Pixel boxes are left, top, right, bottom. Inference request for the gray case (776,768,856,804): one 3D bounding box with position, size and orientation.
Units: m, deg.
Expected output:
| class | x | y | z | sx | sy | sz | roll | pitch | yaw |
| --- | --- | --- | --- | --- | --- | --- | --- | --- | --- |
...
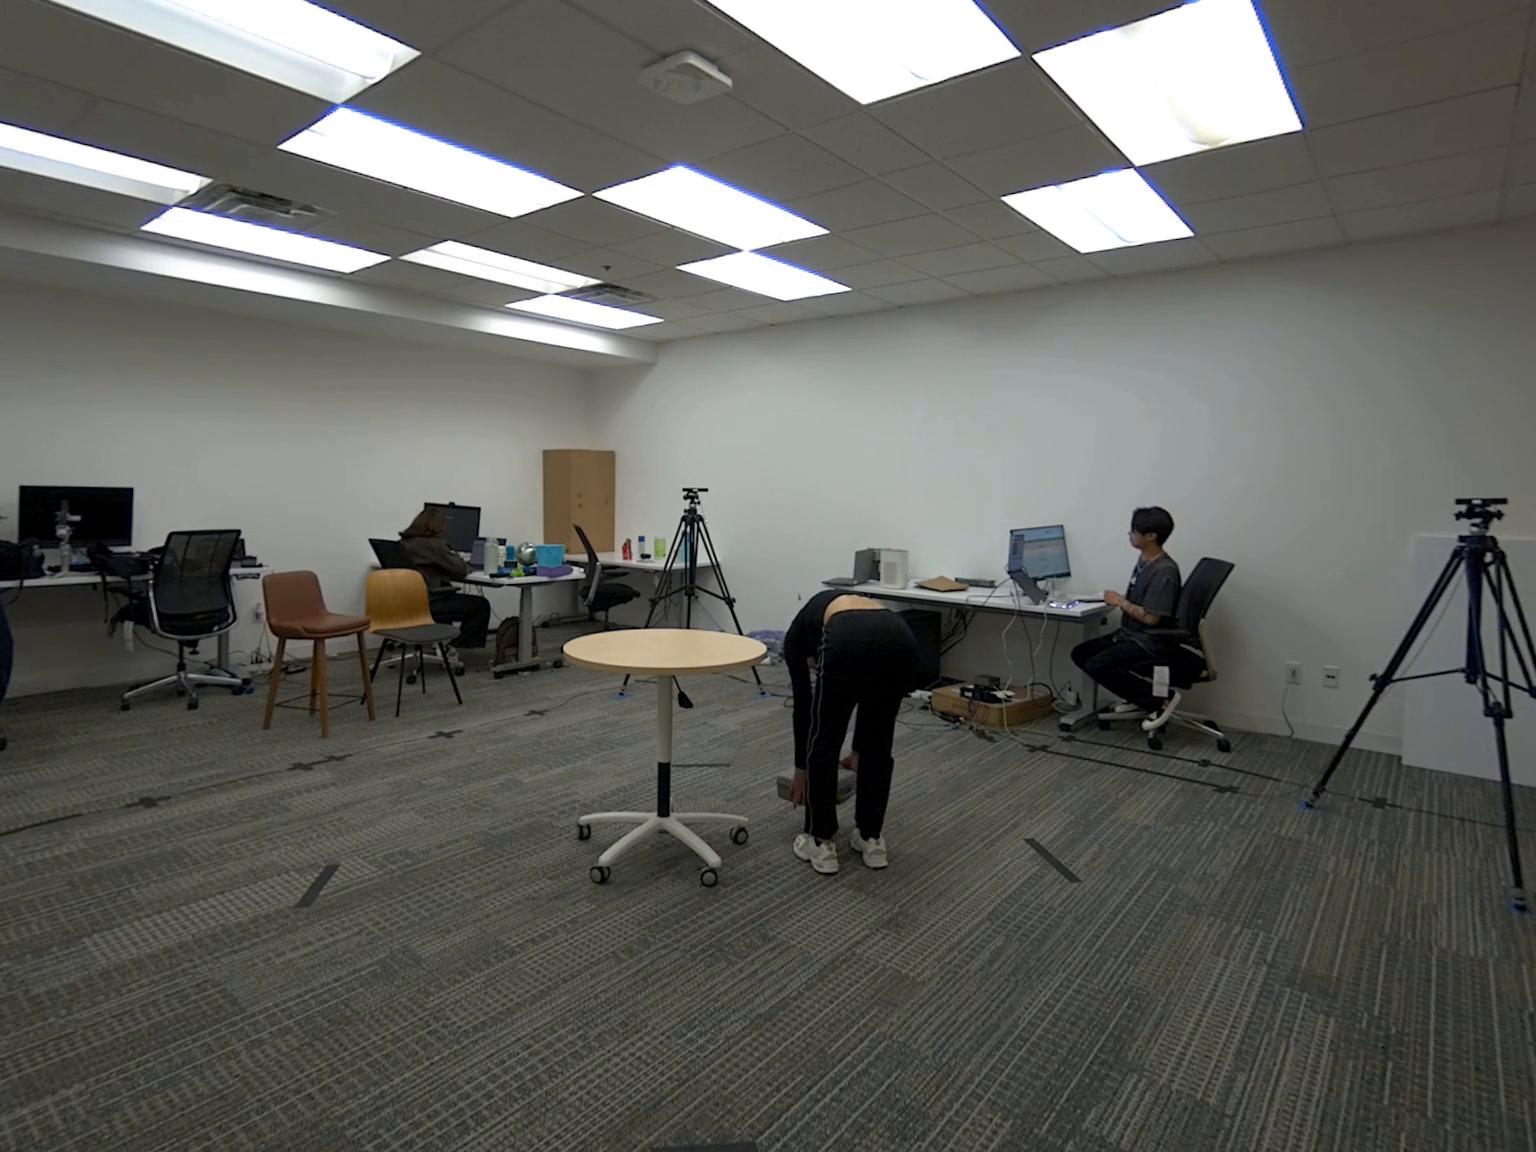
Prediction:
| class | x | y | z | sx | sy | sz | roll | pitch | yaw |
| --- | --- | --- | --- | --- | --- | --- | --- | --- | --- |
| gray case | 0.197 | 0.852 | 3.502 | 0.269 | 0.104 | 0.250 | 5 | 9 | 40 |
